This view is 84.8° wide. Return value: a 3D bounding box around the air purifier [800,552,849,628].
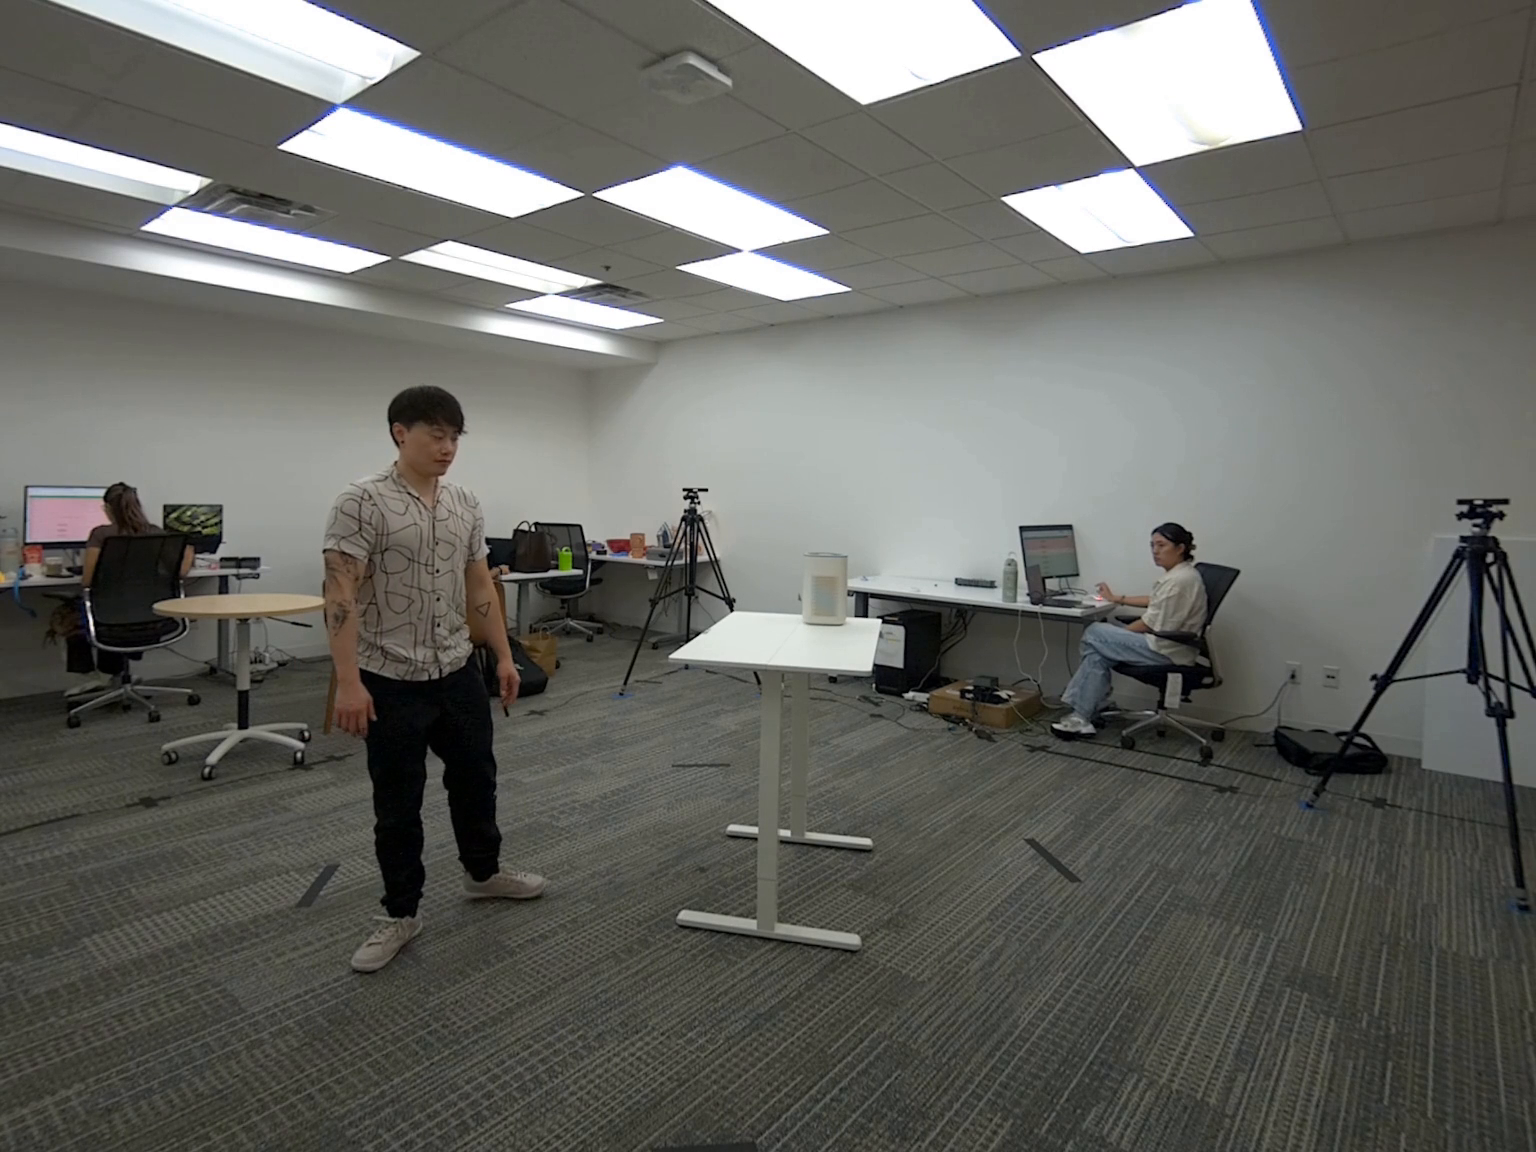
[{"bbox_3d":[0.216,0.048,3.270,0.172,0.264,0.171,2,5,4],"label":"air purifier"}]
